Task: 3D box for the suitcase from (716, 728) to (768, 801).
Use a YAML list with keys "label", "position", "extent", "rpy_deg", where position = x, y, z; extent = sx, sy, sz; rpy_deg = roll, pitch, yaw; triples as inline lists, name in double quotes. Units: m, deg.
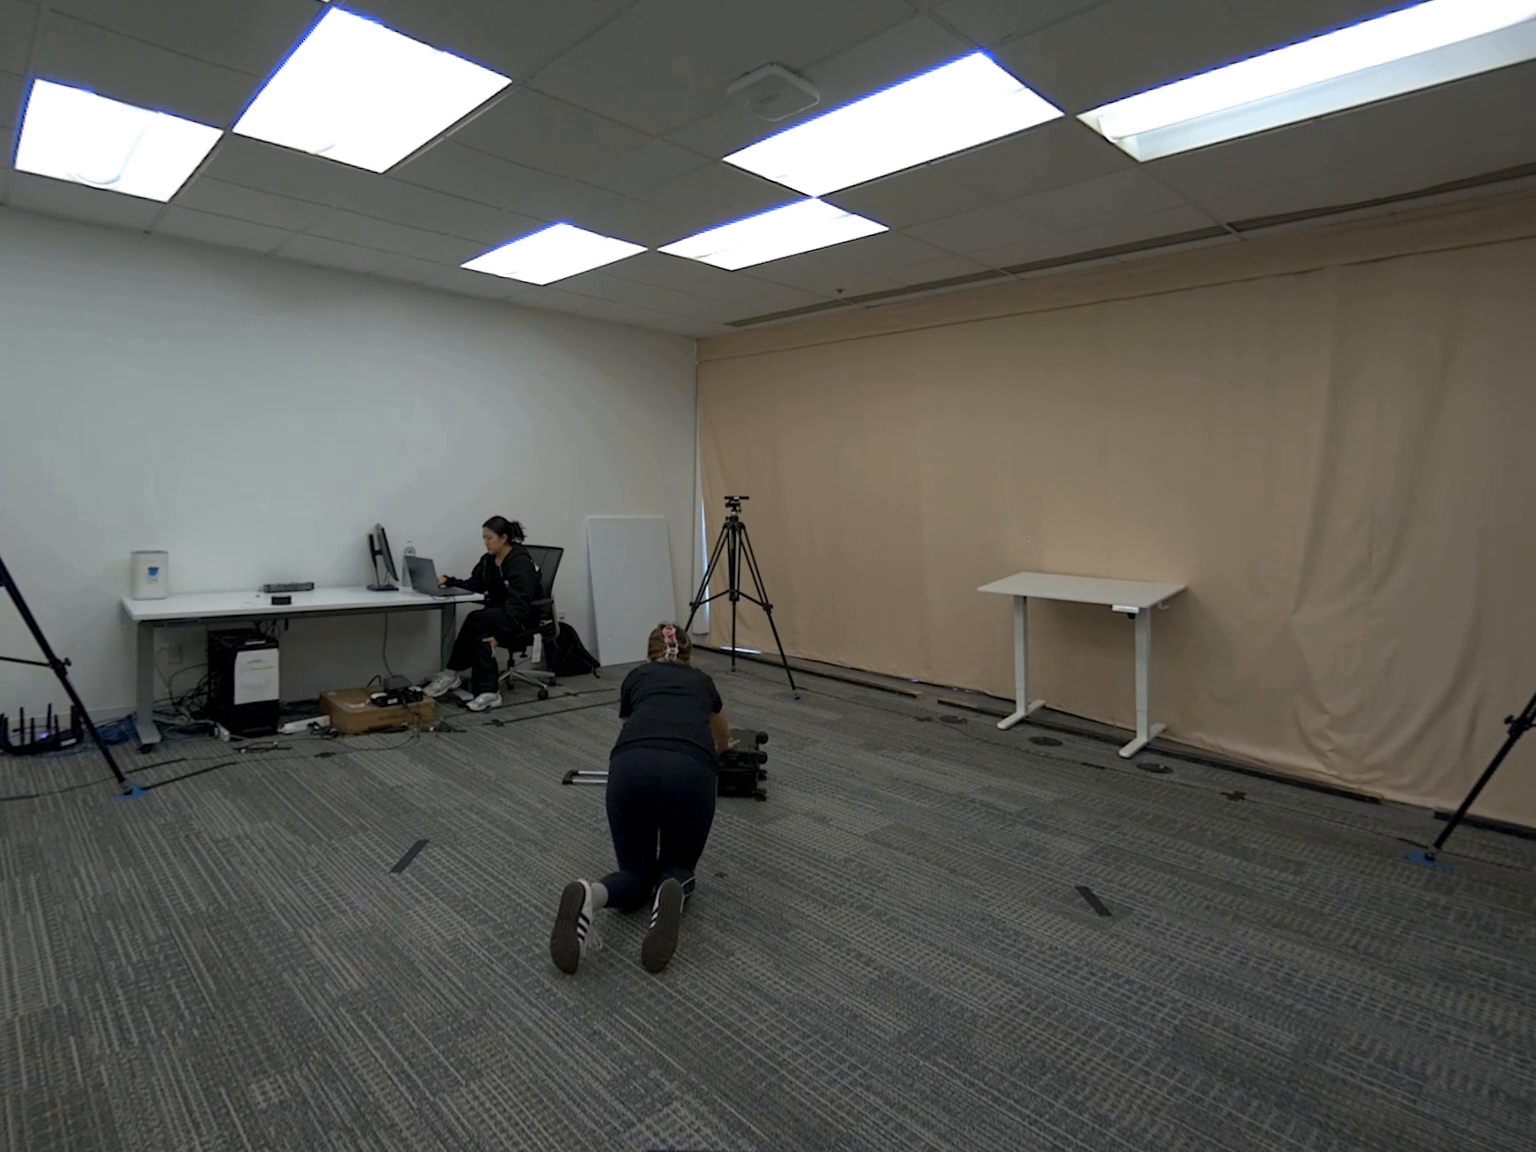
- label: "suitcase"
  position: [-0.493, 0.886, 4.090]
  extent: [0.981, 0.256, 0.384]
  rpy_deg: [3, 6, 2]
